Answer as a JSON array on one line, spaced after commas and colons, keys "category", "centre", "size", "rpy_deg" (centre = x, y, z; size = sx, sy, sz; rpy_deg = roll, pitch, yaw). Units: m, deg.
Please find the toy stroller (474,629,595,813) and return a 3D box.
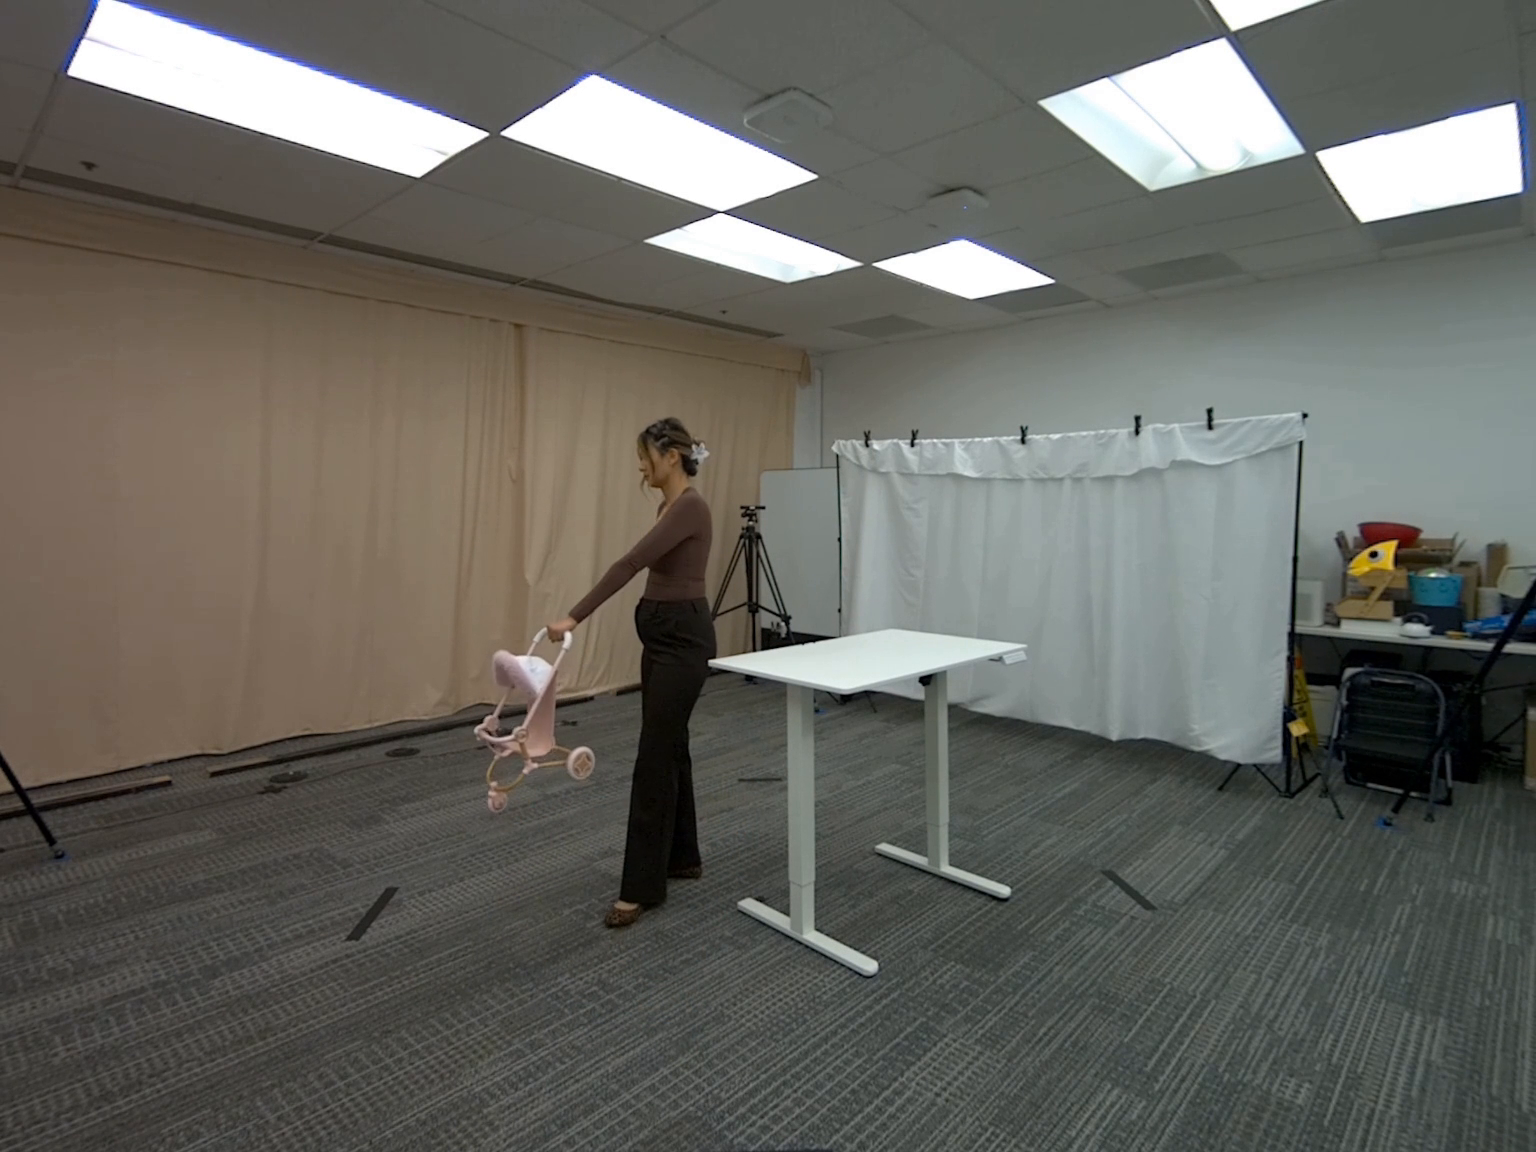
[{"category": "toy stroller", "centre": [-0.783, 0.468, 2.720], "size": [0.332, 0.532, 0.291], "rpy_deg": [-11, 11, -39]}]
